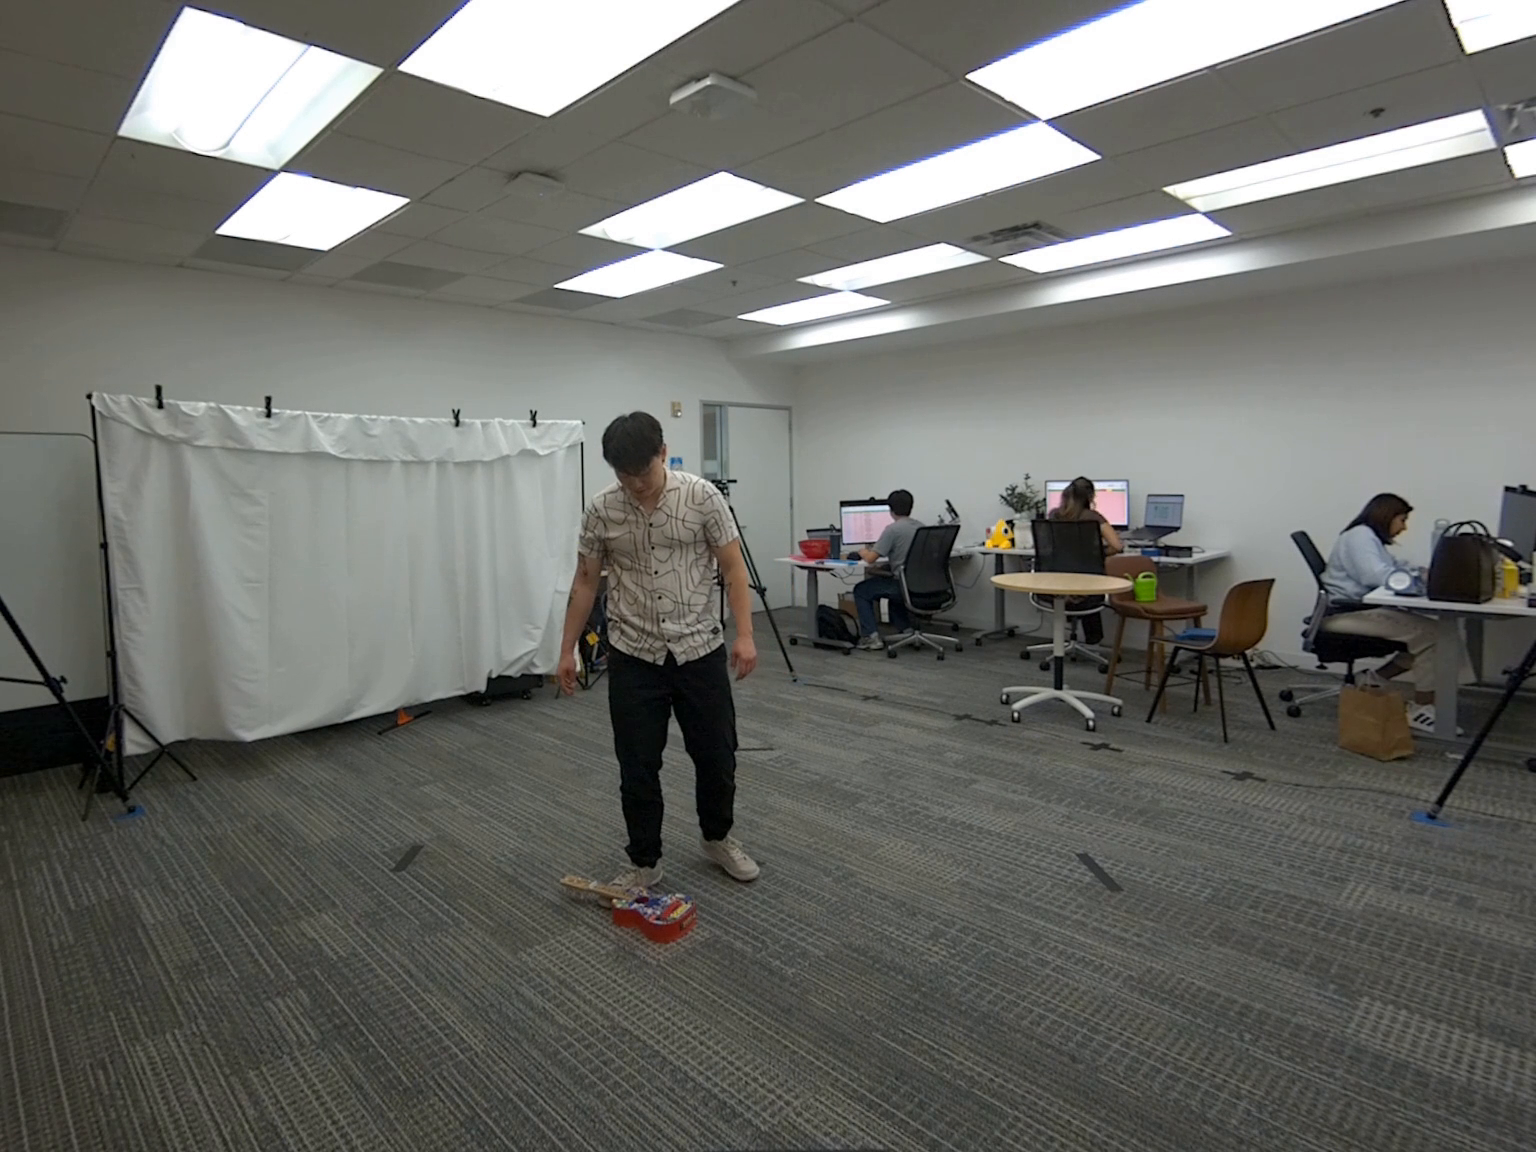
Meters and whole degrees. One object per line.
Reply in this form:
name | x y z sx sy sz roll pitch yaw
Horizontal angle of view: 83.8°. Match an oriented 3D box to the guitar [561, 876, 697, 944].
guitar | -0.447 1.056 2.795 0.512 0.070 0.188 4 8 36
